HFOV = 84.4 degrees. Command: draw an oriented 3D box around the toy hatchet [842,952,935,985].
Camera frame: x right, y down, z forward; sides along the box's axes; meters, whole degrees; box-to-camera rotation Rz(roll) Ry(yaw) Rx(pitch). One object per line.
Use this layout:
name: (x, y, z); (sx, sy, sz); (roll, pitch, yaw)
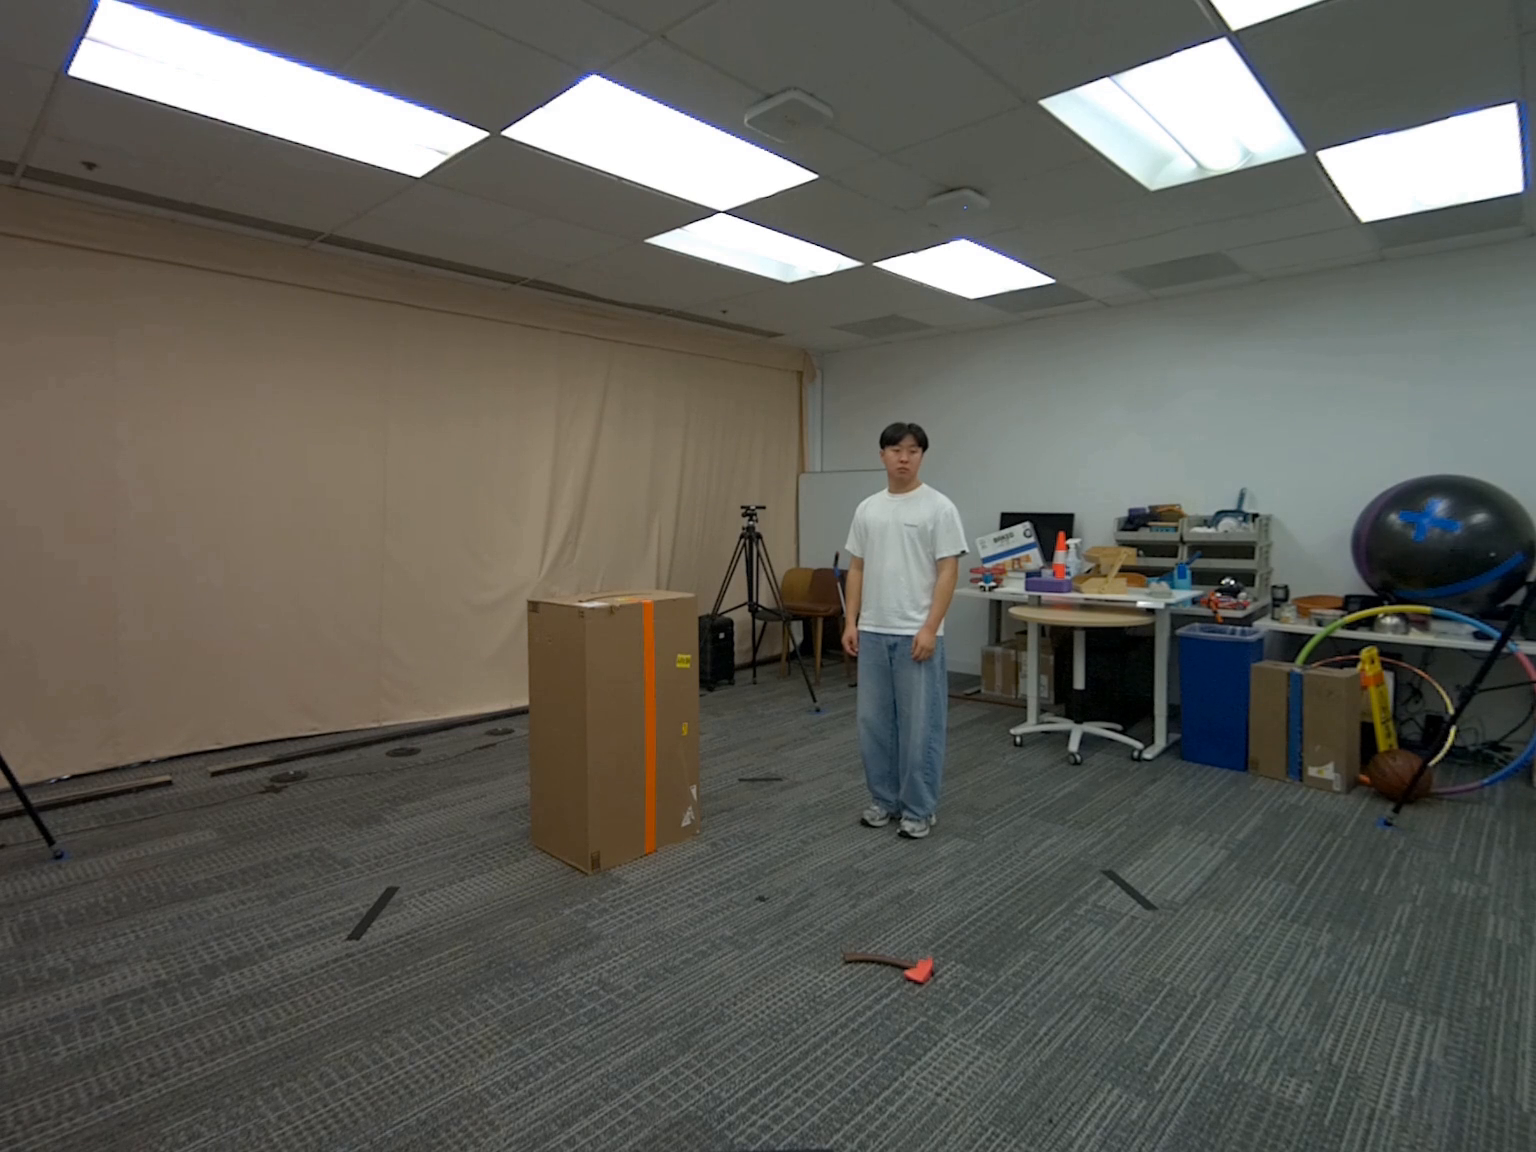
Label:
toy hatchet: (0.367, 1.172, 2.509); (0.272, 0.029, 0.130); (-2, 6, 7)
